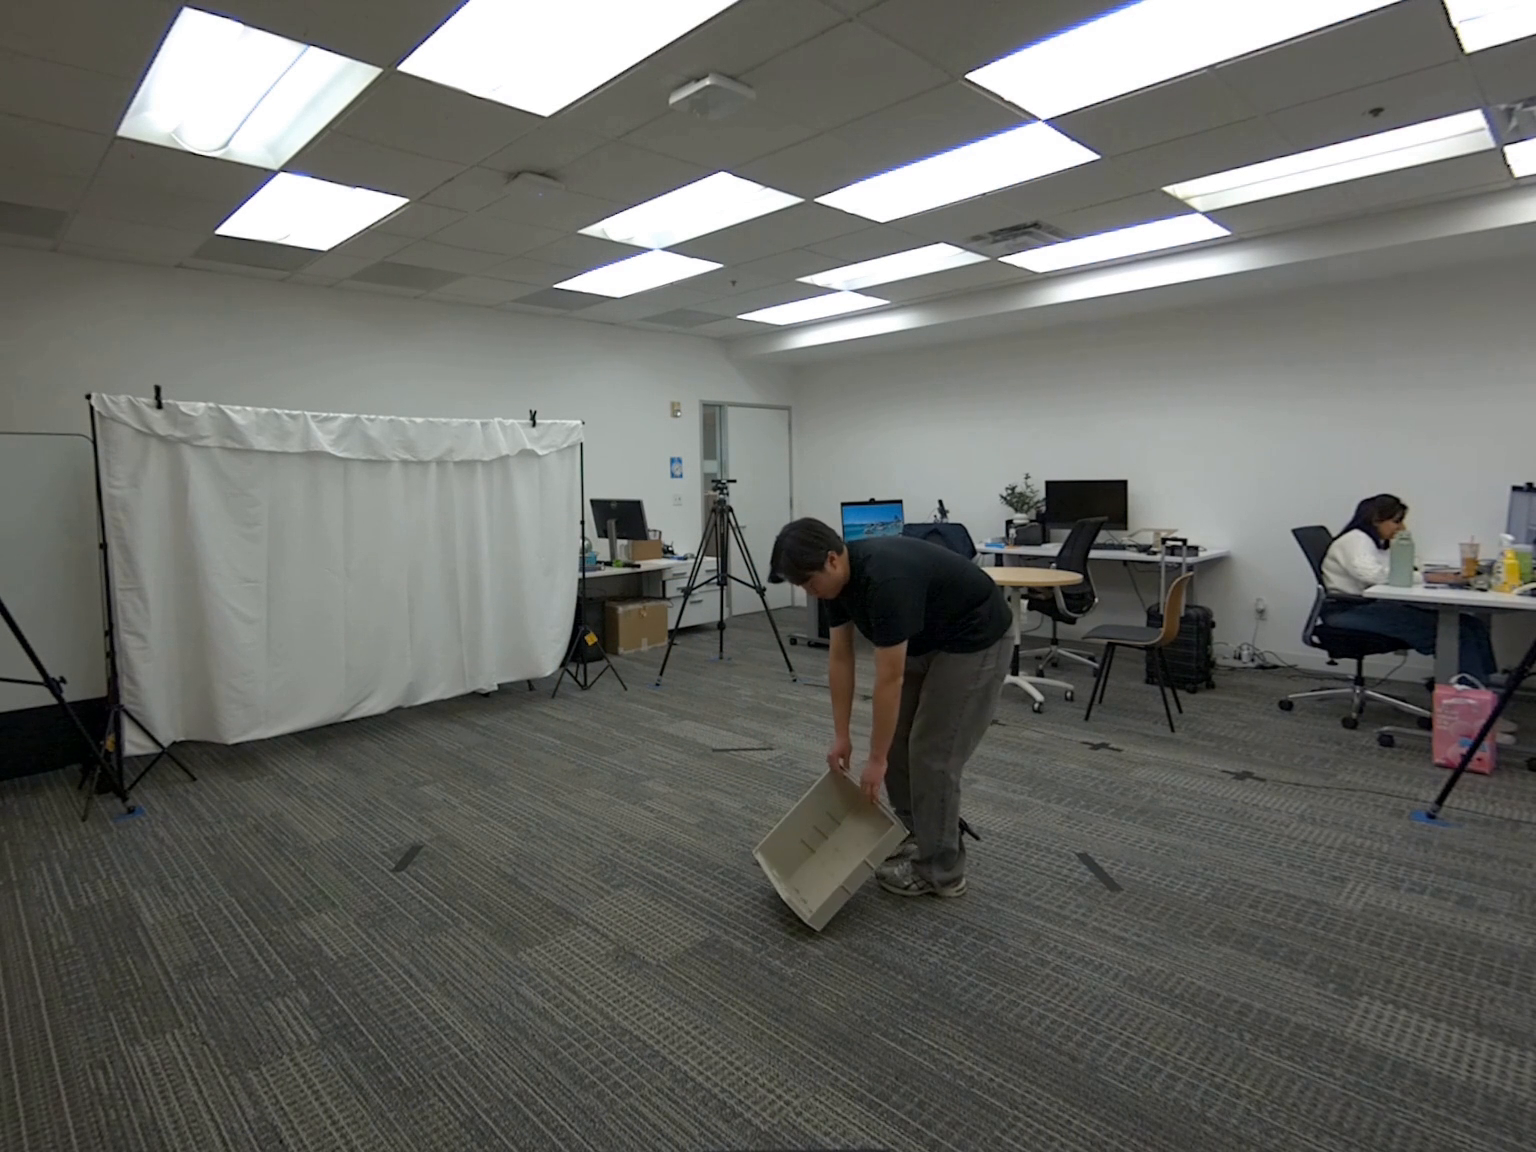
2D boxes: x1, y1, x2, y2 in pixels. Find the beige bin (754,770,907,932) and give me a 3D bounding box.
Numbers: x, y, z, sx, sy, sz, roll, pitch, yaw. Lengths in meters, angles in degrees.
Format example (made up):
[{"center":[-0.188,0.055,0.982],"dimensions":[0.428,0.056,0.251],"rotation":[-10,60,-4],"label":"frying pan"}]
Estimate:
[{"center":[0.211,0.878,2.769],"dimensions":[0.422,0.186,0.384],"rotation":[-45,14,-7],"label":"beige bin"}]
